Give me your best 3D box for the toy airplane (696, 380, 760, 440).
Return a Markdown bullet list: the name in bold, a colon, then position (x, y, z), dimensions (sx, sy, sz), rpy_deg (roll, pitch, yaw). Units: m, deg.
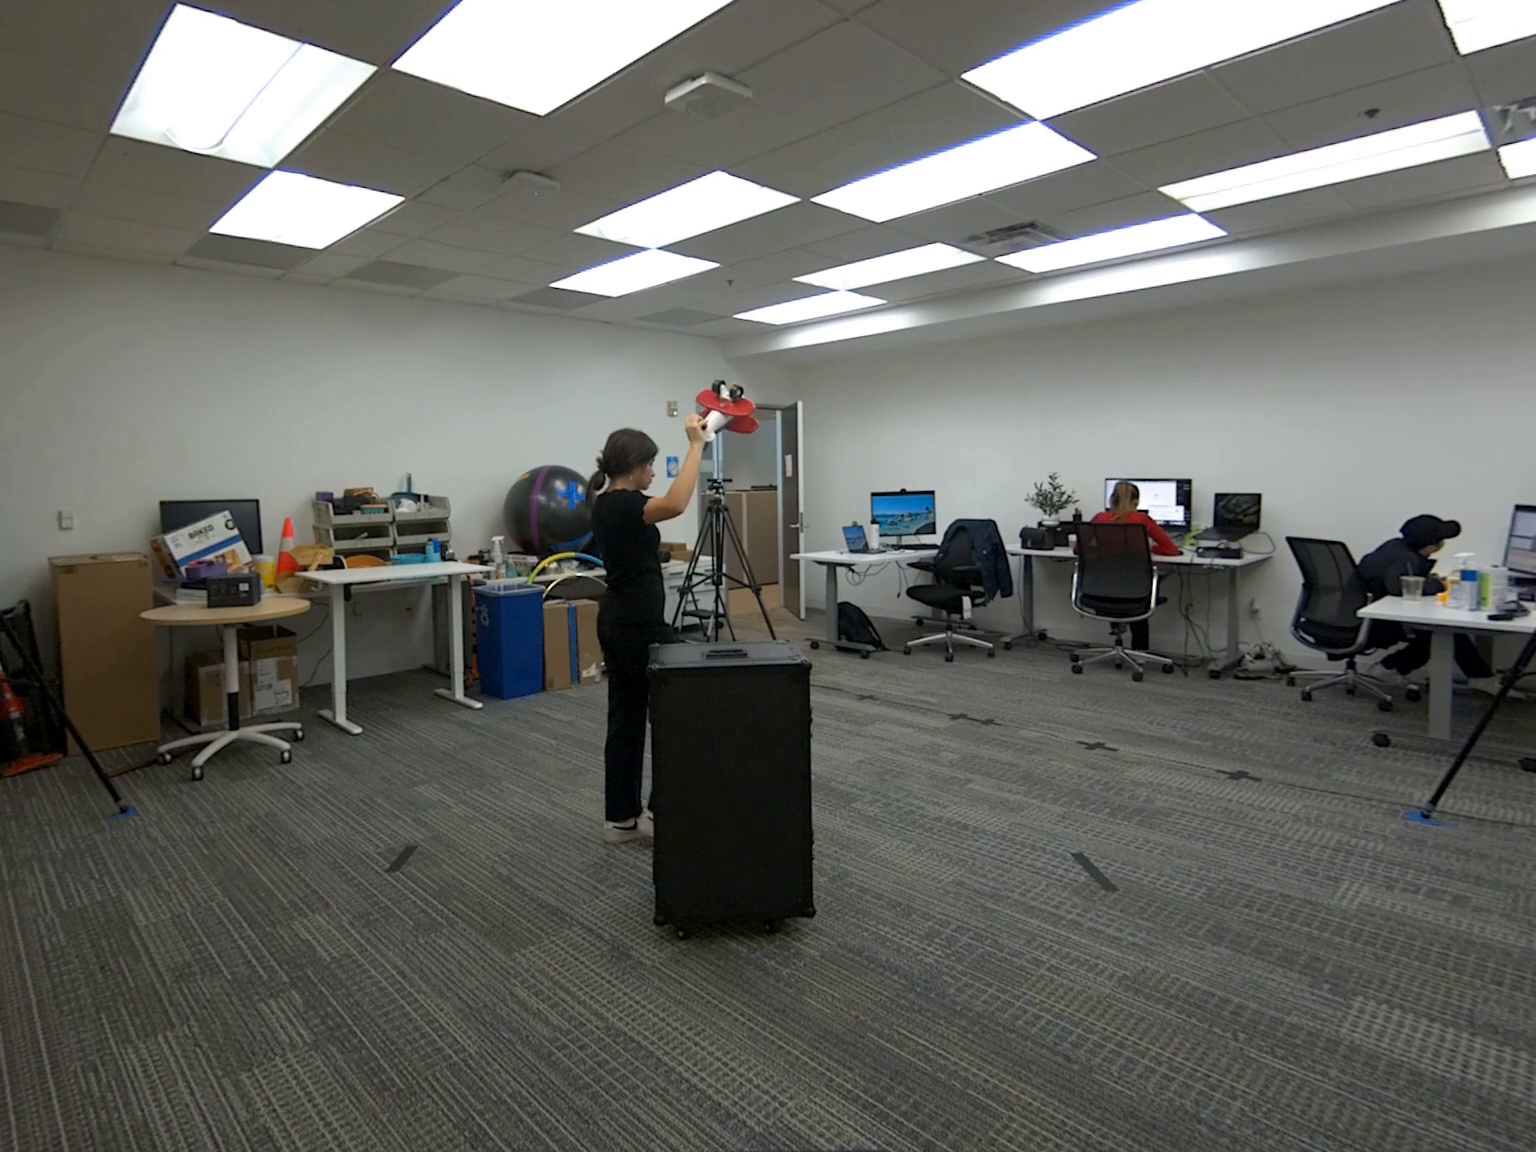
- **toy airplane**: position (-0.184, -0.591, 3.109), dimensions (0.259, 0.261, 0.150), rpy_deg (-33, -38, 1)
